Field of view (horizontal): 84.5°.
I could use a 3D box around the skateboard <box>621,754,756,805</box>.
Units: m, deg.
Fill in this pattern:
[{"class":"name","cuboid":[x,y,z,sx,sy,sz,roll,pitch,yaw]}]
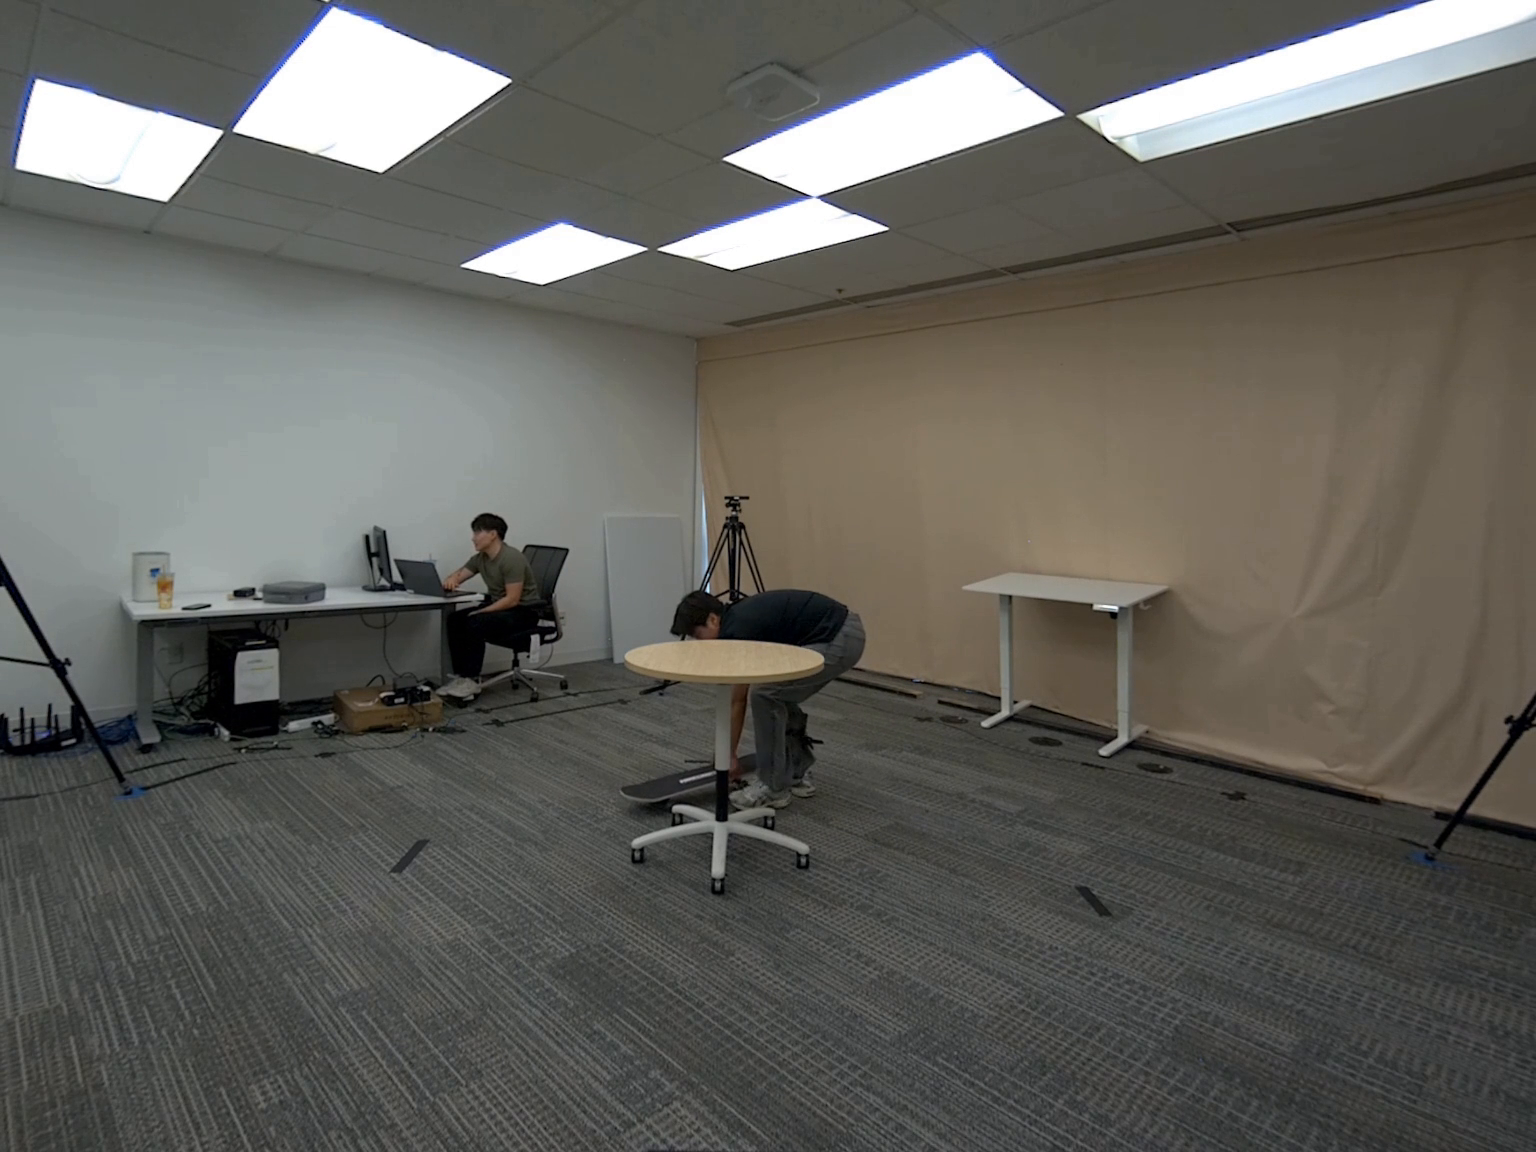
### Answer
[{"class":"skateboard","cuboid":[-0.333,0.964,3.887,0.770,0.110,0.198,-6,10,-35]}]
